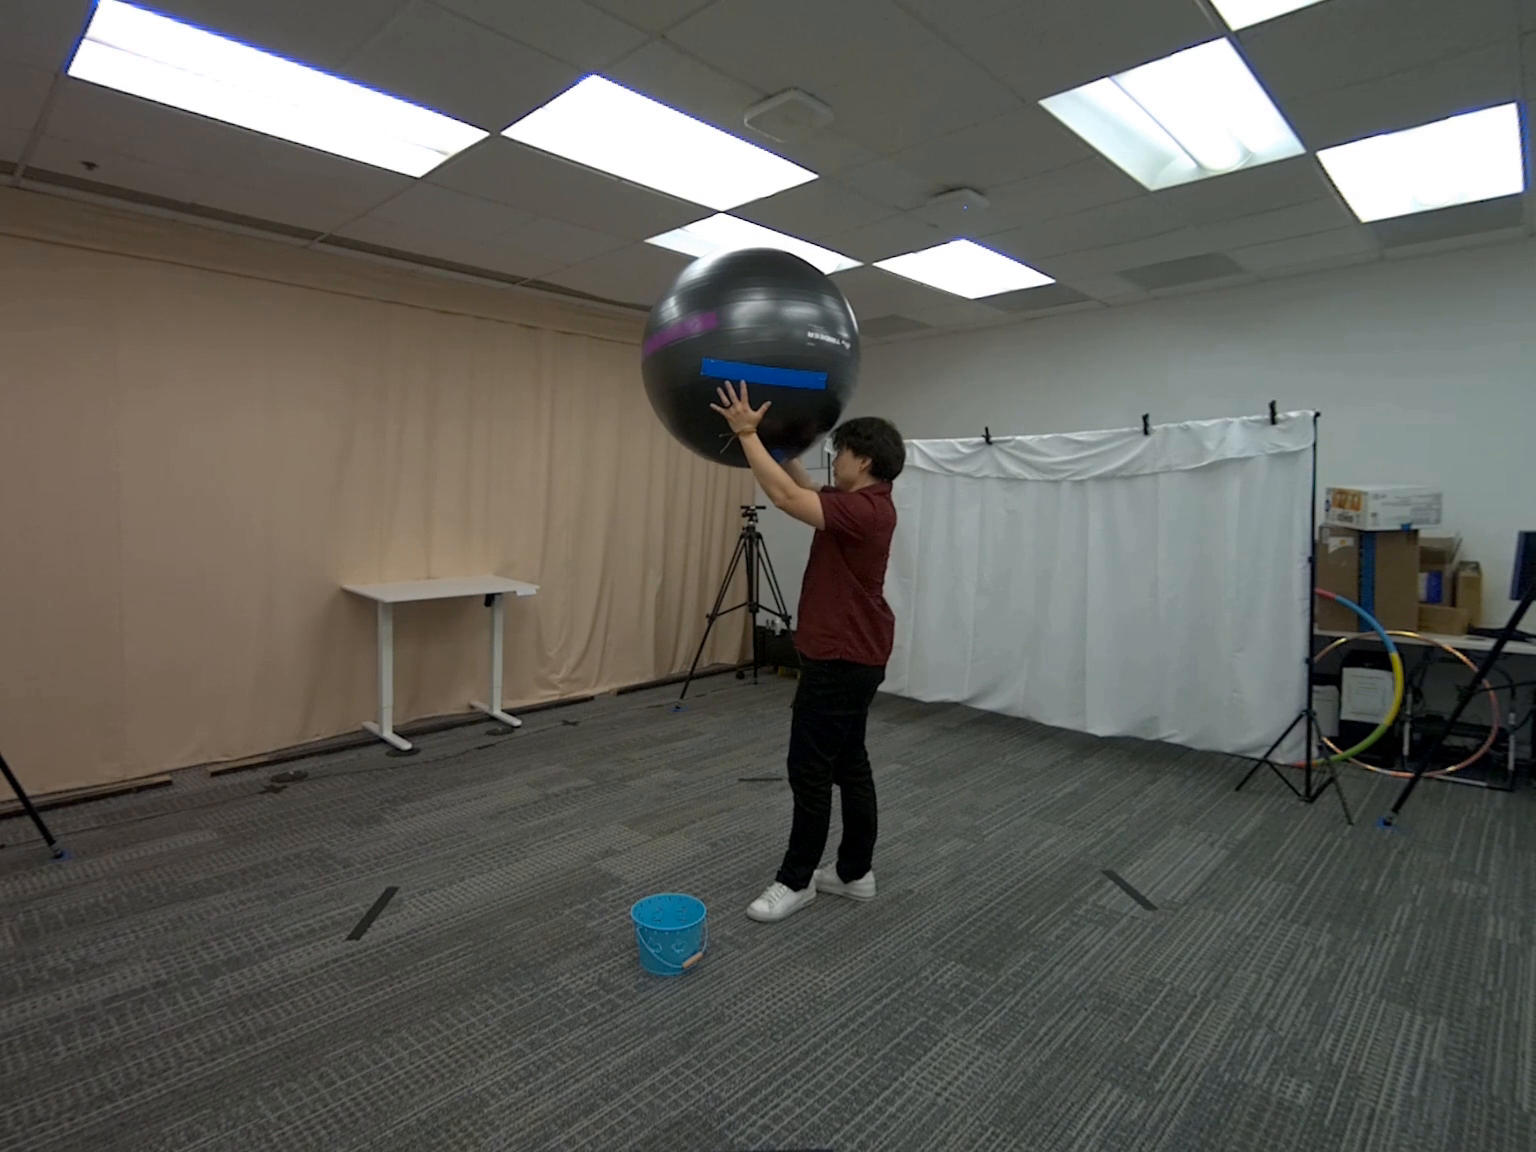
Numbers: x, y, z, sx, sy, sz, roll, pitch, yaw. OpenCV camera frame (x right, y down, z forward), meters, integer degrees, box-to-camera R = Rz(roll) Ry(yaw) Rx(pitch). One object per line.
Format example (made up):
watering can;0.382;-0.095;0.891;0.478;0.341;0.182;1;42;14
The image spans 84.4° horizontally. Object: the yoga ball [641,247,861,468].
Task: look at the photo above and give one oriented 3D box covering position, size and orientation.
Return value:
yoga ball;-0.059;-0.755;2.937;0.757;0.756;0.760;0;4;-2
